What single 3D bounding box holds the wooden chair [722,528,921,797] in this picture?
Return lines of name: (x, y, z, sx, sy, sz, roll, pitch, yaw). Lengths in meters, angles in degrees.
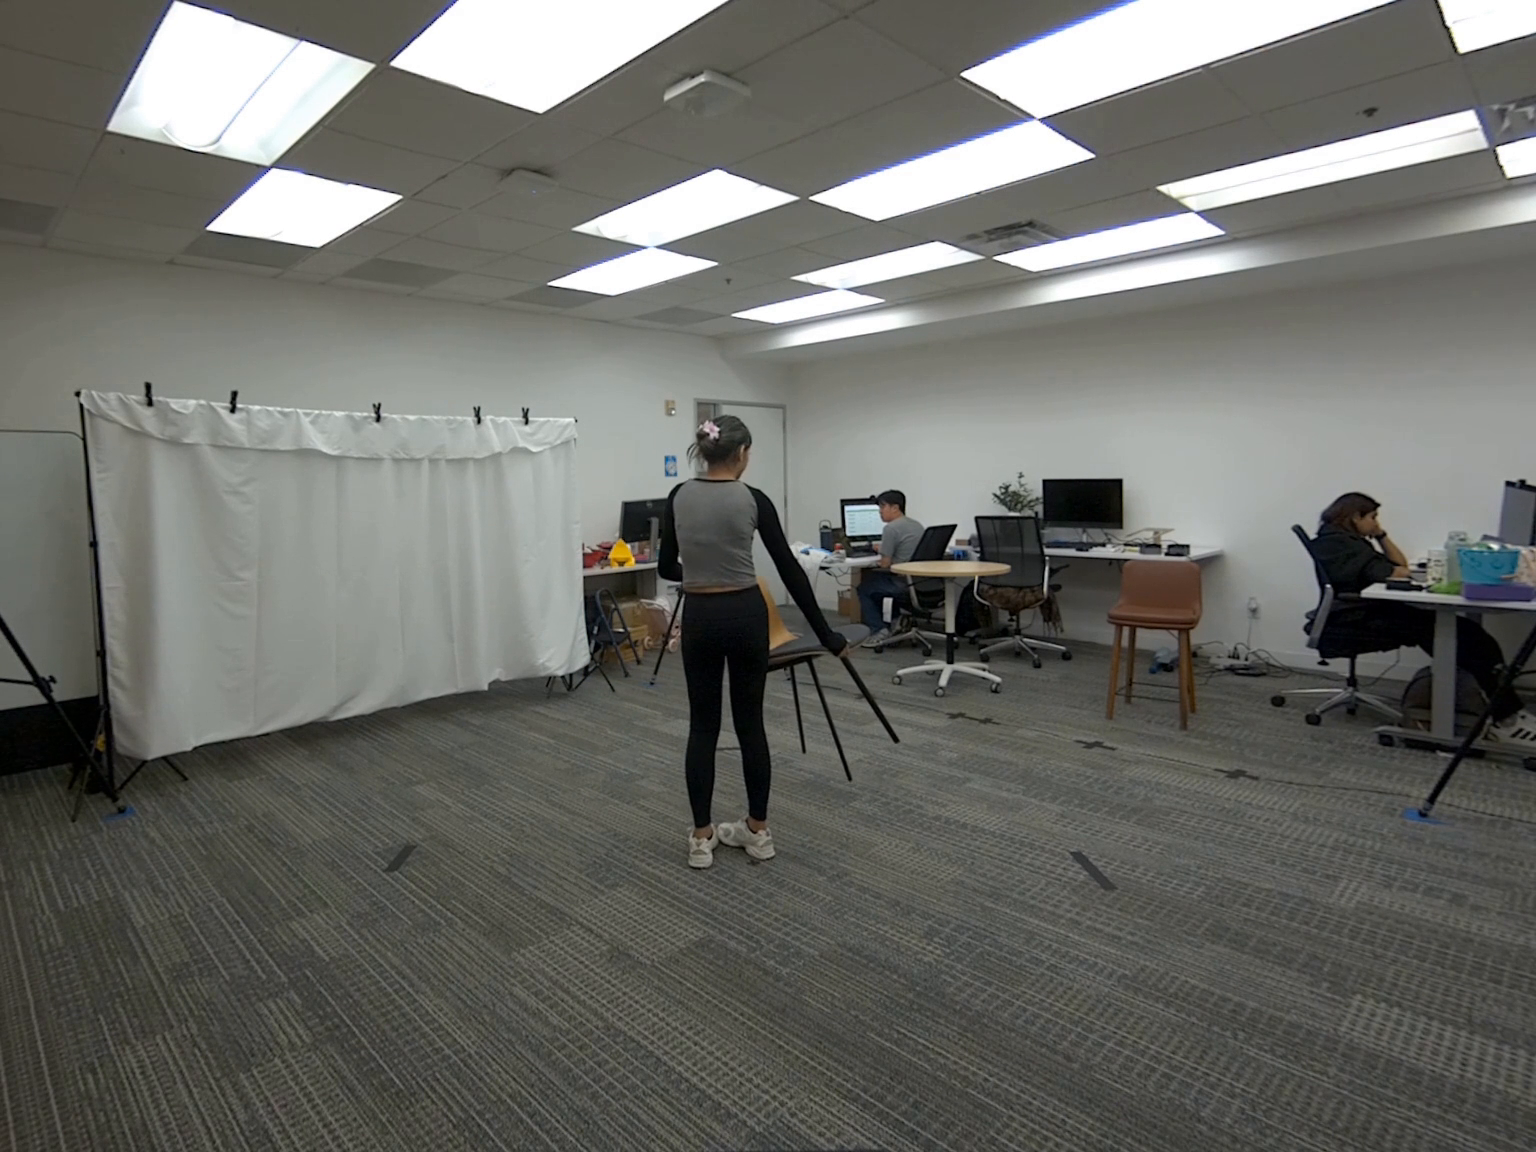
wooden chair: (0.132, 0.331, 3.358, 0.532, 0.882, 0.468, -20, -4, 33)
